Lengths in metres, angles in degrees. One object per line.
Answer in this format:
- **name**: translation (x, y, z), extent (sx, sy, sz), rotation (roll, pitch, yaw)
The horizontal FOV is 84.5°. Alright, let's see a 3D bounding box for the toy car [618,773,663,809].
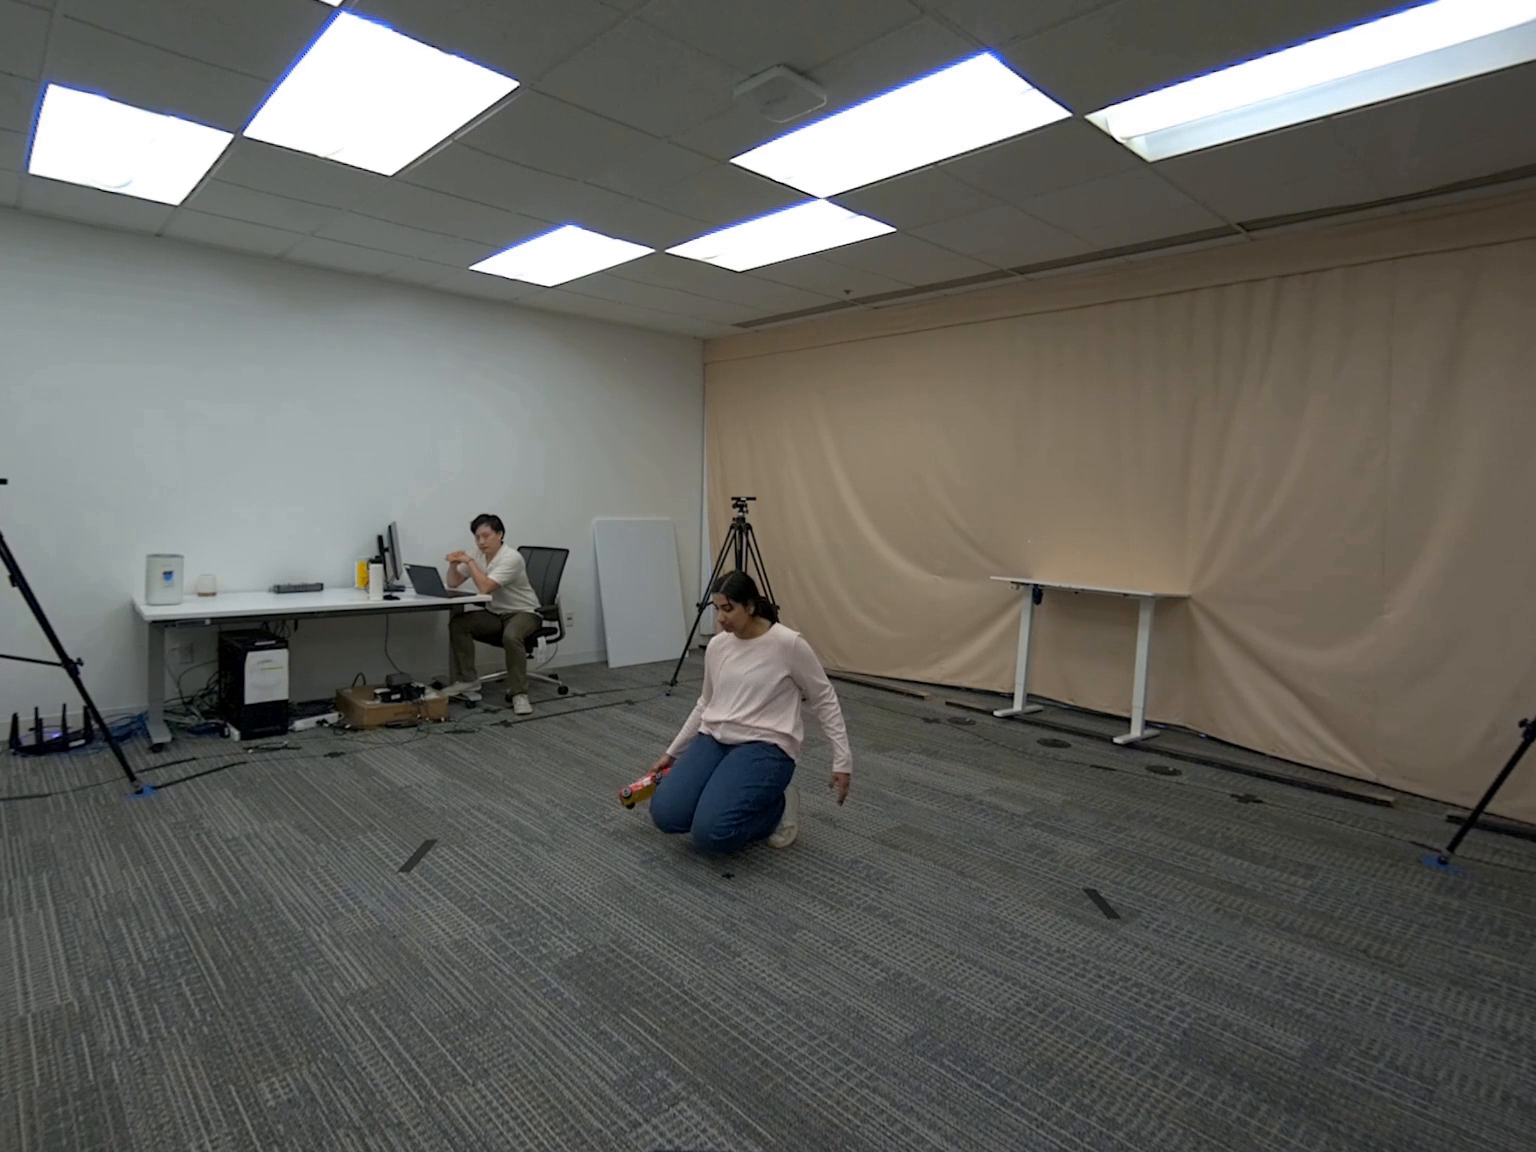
- **toy car**: translation (-0.511, 0.885, 3.514), extent (0.253, 0.127, 0.086), rotation (-30, 50, -21)
